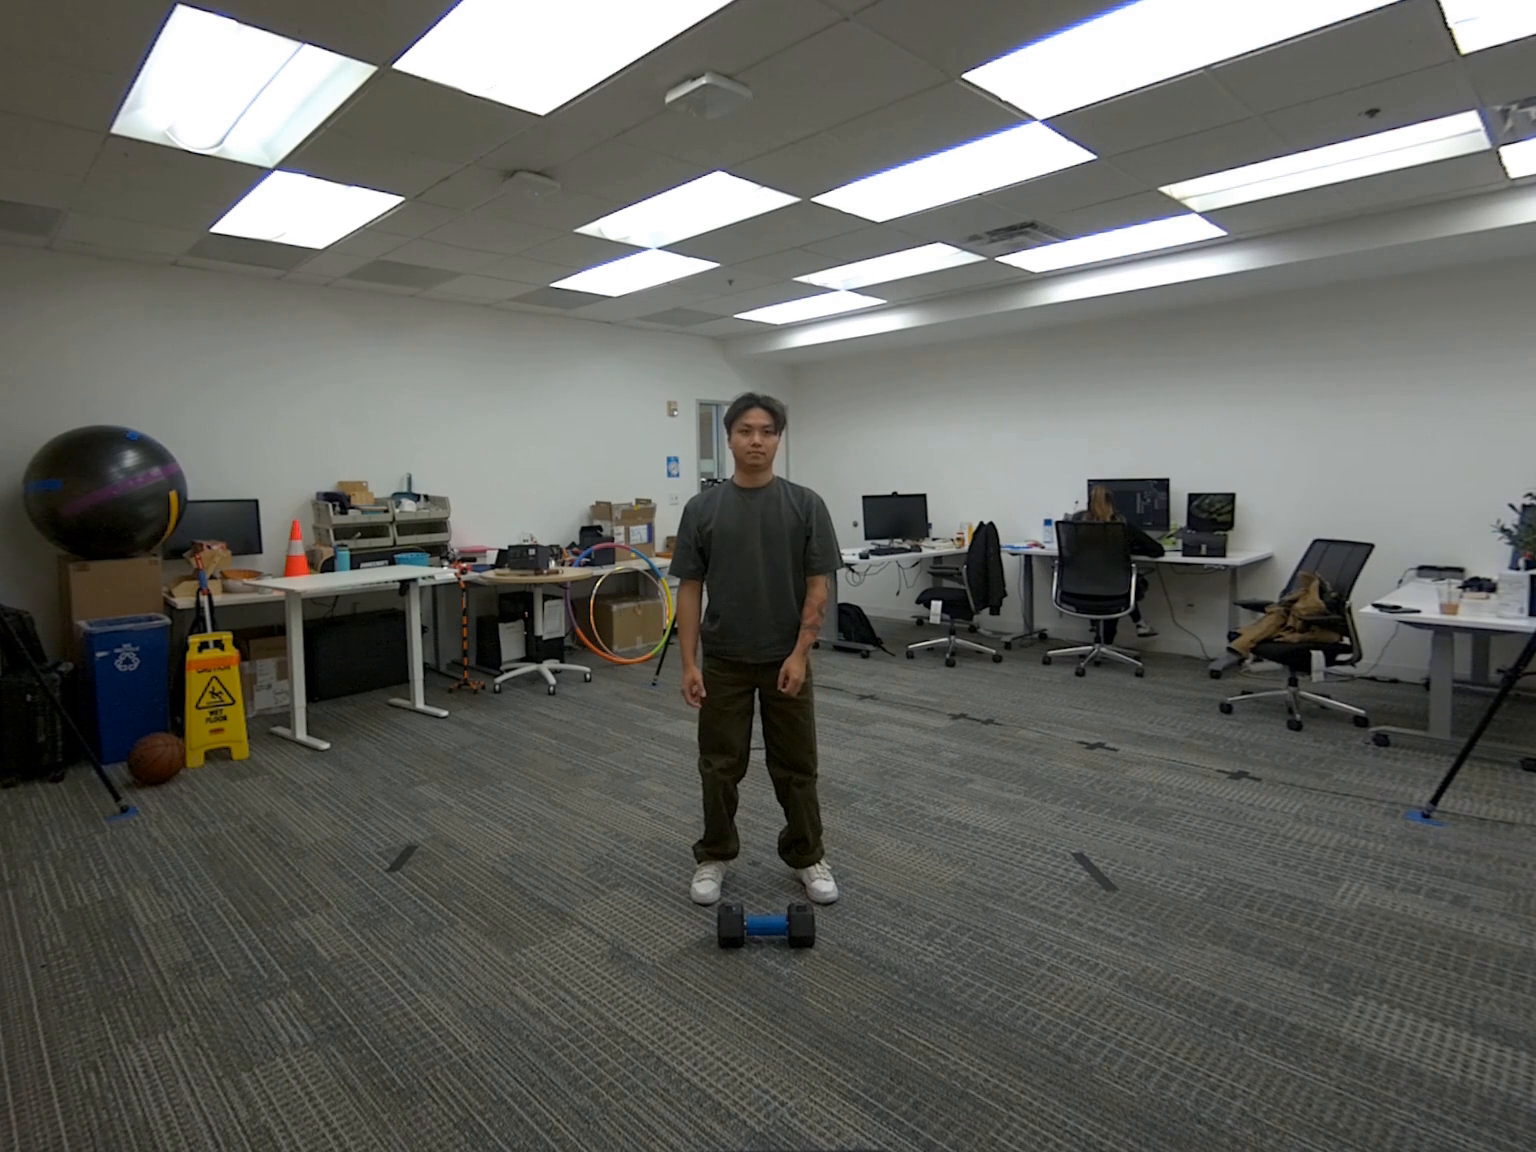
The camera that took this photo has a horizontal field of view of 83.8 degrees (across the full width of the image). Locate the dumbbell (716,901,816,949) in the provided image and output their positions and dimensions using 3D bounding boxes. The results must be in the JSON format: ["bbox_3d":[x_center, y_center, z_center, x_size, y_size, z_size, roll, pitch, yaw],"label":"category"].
[{"bbox_3d":[-0.002,1.058,2.572,0.294,0.125,0.106,-1,-24,1],"label":"dumbbell"}]
